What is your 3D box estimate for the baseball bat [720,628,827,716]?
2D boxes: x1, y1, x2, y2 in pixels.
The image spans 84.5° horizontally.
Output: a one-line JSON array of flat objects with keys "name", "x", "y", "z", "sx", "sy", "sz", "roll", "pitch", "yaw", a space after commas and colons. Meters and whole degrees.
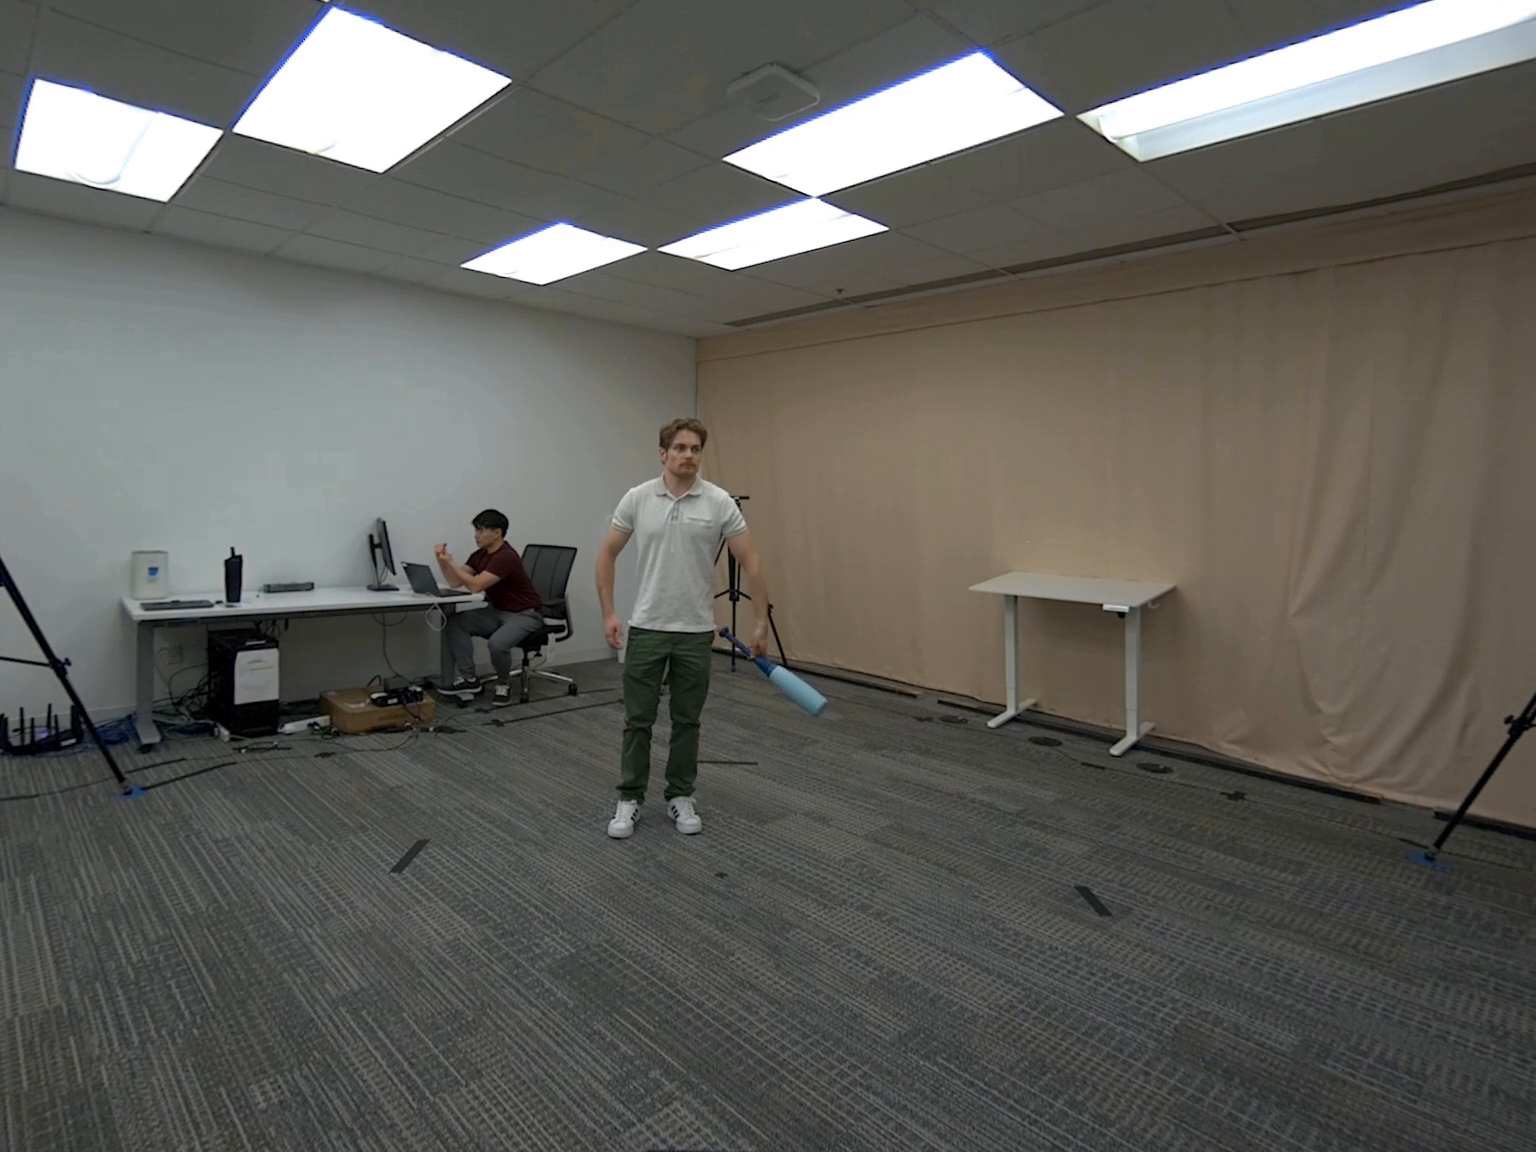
[{"name": "baseball bat", "x": -0.014, "y": 0.378, "z": 3.420, "sx": 0.557, "sy": 0.088, "sz": 0.087, "roll": 35, "pitch": 20, "yaw": 26}]
